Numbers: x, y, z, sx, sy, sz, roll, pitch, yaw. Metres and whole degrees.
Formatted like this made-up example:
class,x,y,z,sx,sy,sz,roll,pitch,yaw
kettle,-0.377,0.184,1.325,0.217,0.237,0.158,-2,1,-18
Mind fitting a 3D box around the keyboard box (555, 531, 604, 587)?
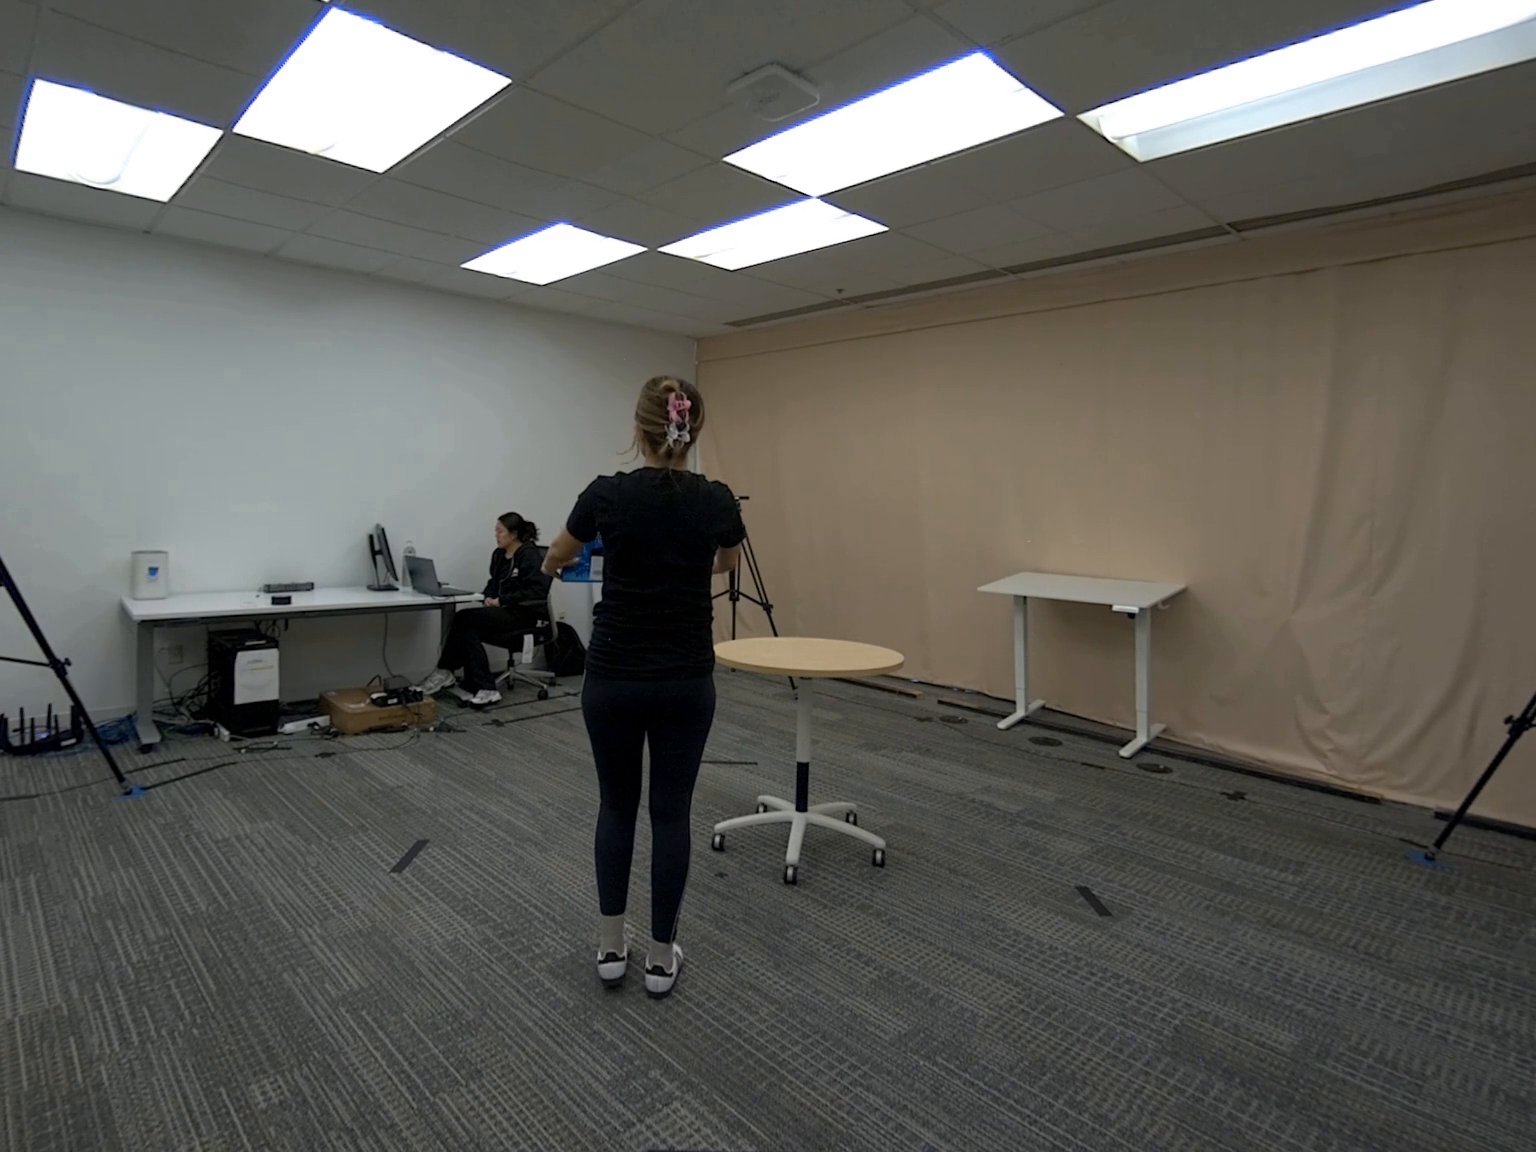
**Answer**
class,x,y,z,sx,sy,sz,roll,pitch,yaw
keyboard box,-0.497,-0.057,2.882,0.431,0.175,0.060,1,9,-17
